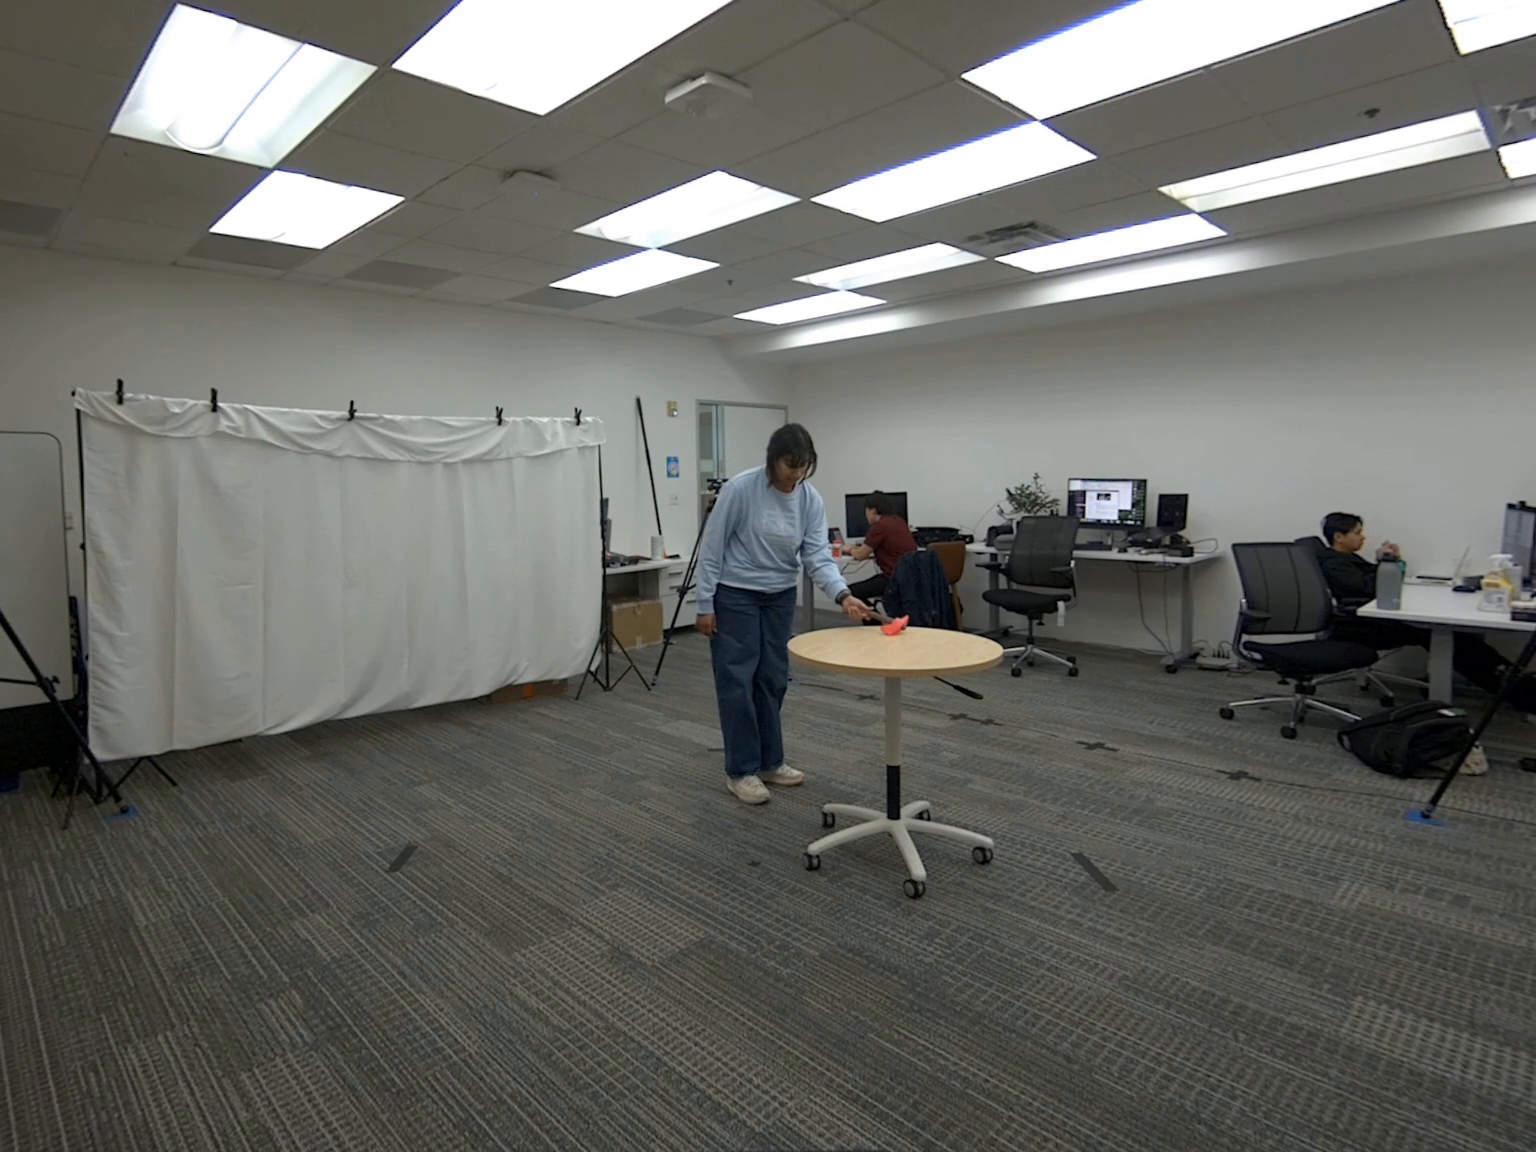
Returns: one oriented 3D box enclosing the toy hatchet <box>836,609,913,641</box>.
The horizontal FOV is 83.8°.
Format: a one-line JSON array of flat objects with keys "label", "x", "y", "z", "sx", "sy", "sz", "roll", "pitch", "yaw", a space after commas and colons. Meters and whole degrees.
[{"label": "toy hatchet", "x": 0.416, "y": 0.183, "z": 3.366, "sx": 0.277, "sy": 0.029, "sz": 0.132, "roll": 5, "pitch": 38, "yaw": 25}]
